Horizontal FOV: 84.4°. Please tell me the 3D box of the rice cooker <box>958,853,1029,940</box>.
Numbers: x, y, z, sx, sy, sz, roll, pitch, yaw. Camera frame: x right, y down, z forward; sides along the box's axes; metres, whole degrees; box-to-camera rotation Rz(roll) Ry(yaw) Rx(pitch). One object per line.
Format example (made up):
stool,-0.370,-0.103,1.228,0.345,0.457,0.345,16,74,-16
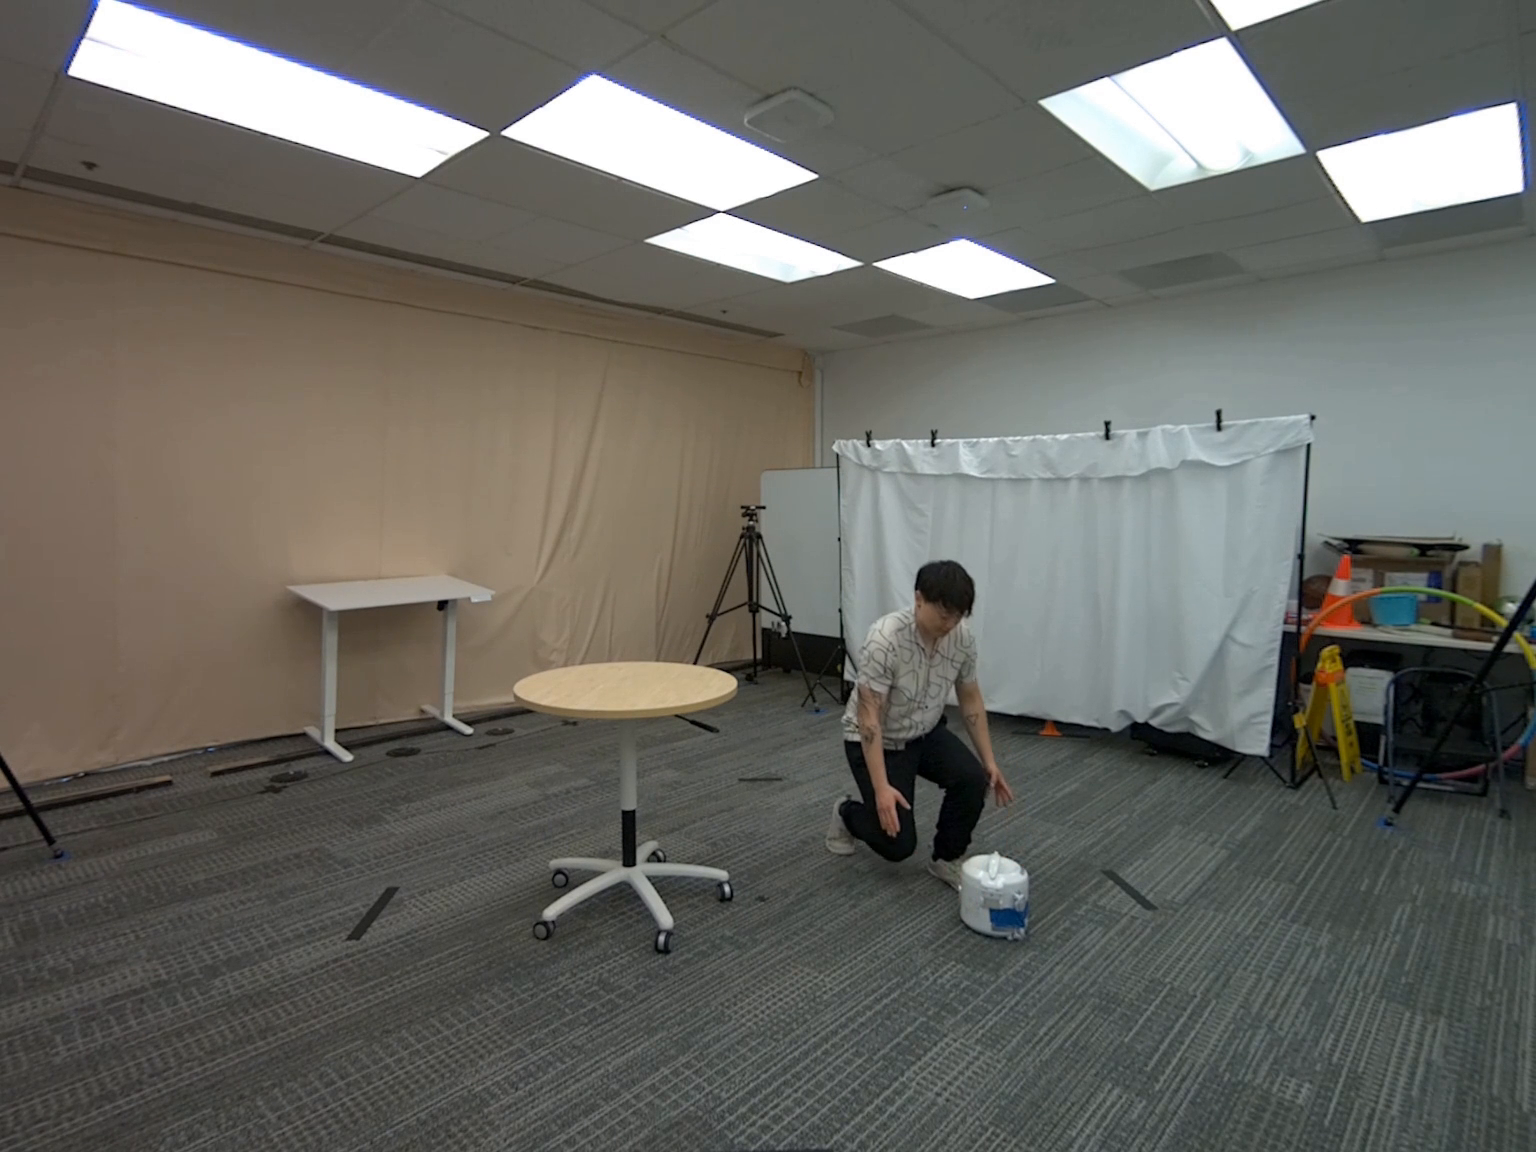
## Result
rice cooker,0.741,1.034,2.782,0.222,0.232,0.216,3,5,21
